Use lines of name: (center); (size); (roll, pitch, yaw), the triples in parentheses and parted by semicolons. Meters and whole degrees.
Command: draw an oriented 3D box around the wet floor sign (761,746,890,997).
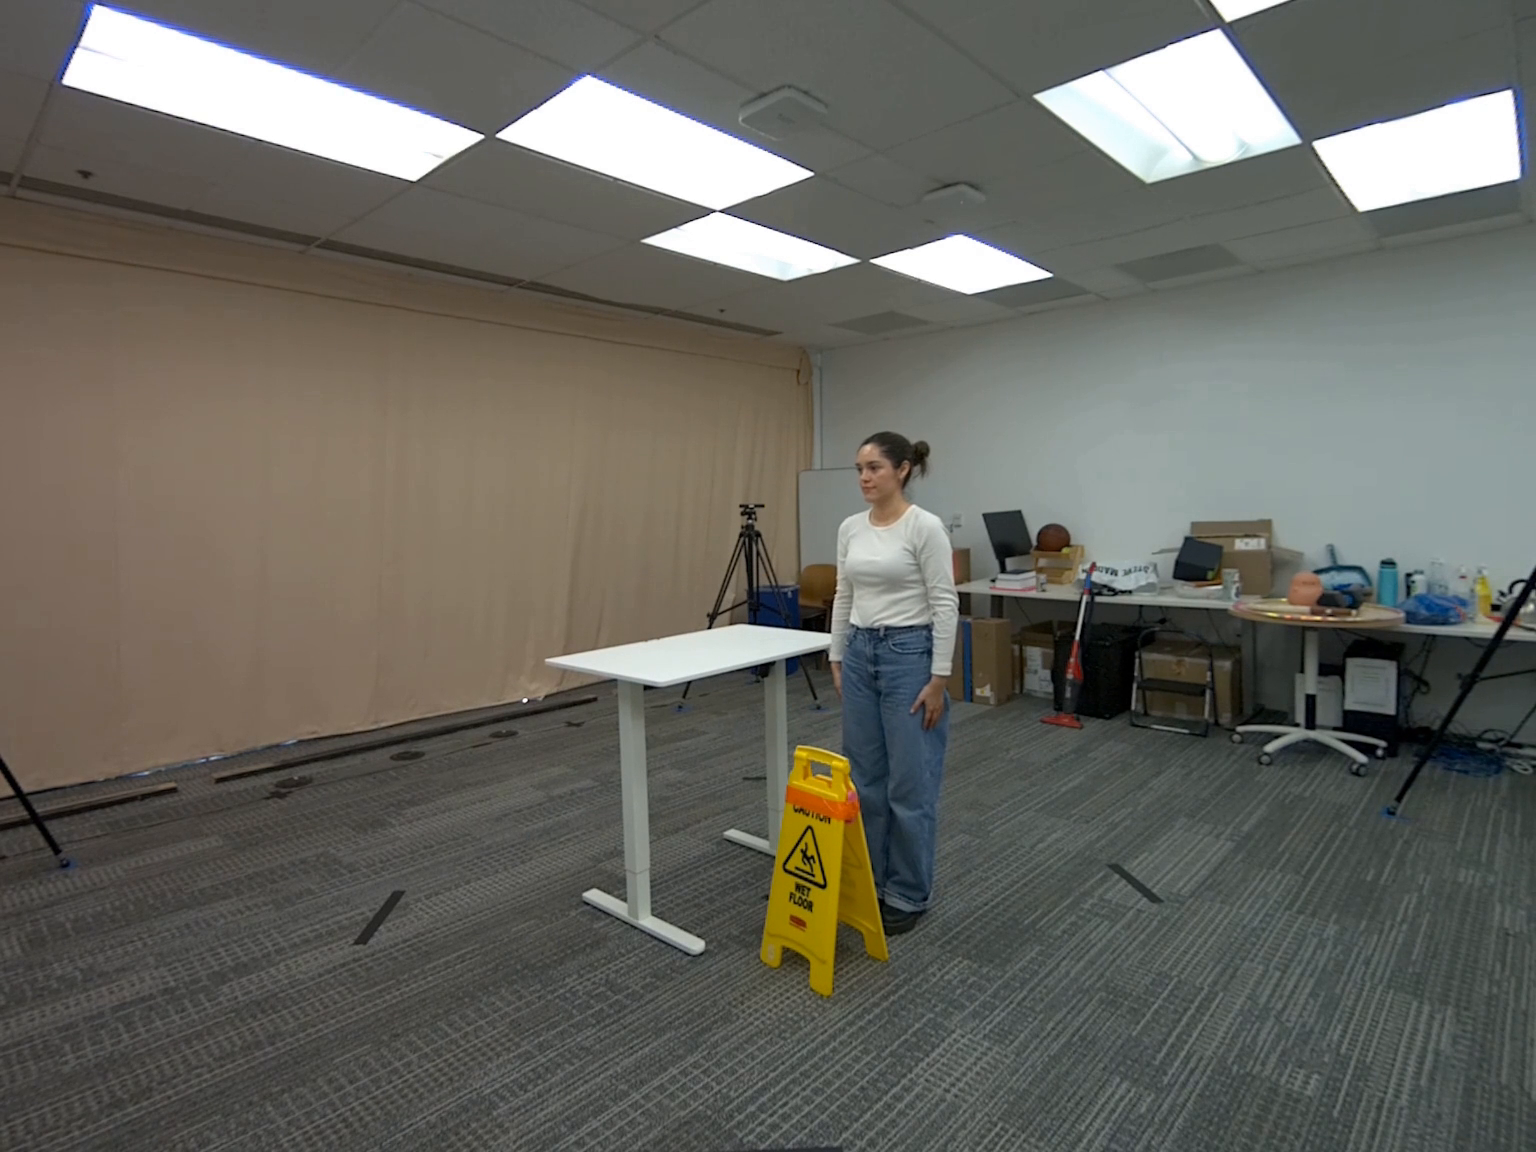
wet floor sign: (0.174, 0.849, 2.549); (0.281, 0.645, 0.291); (-3, 4, -45)
